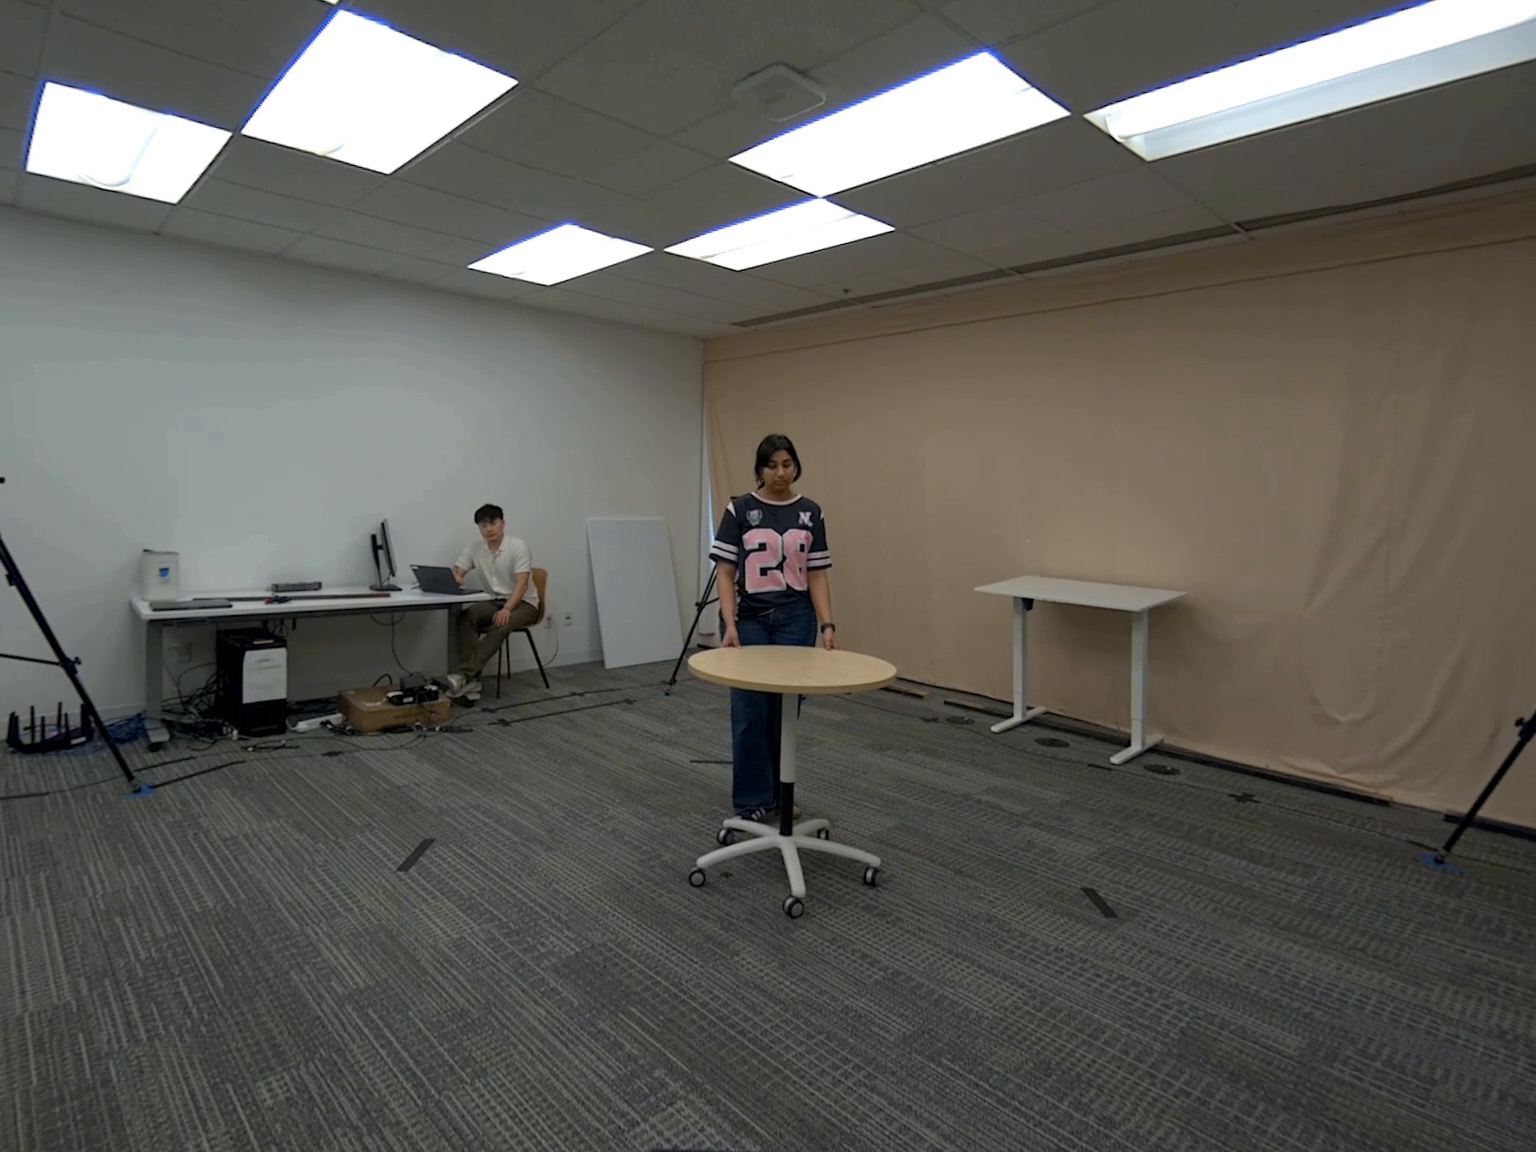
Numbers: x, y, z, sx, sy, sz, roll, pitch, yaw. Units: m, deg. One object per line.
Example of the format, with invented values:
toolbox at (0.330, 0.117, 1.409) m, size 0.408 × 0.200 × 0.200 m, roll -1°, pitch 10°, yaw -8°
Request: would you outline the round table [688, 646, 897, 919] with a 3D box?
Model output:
round table at (0.054, 0.720, 3.127) m, size 0.763 × 0.792 × 0.766 m, roll 2°, pitch 3°, yaw -1°
